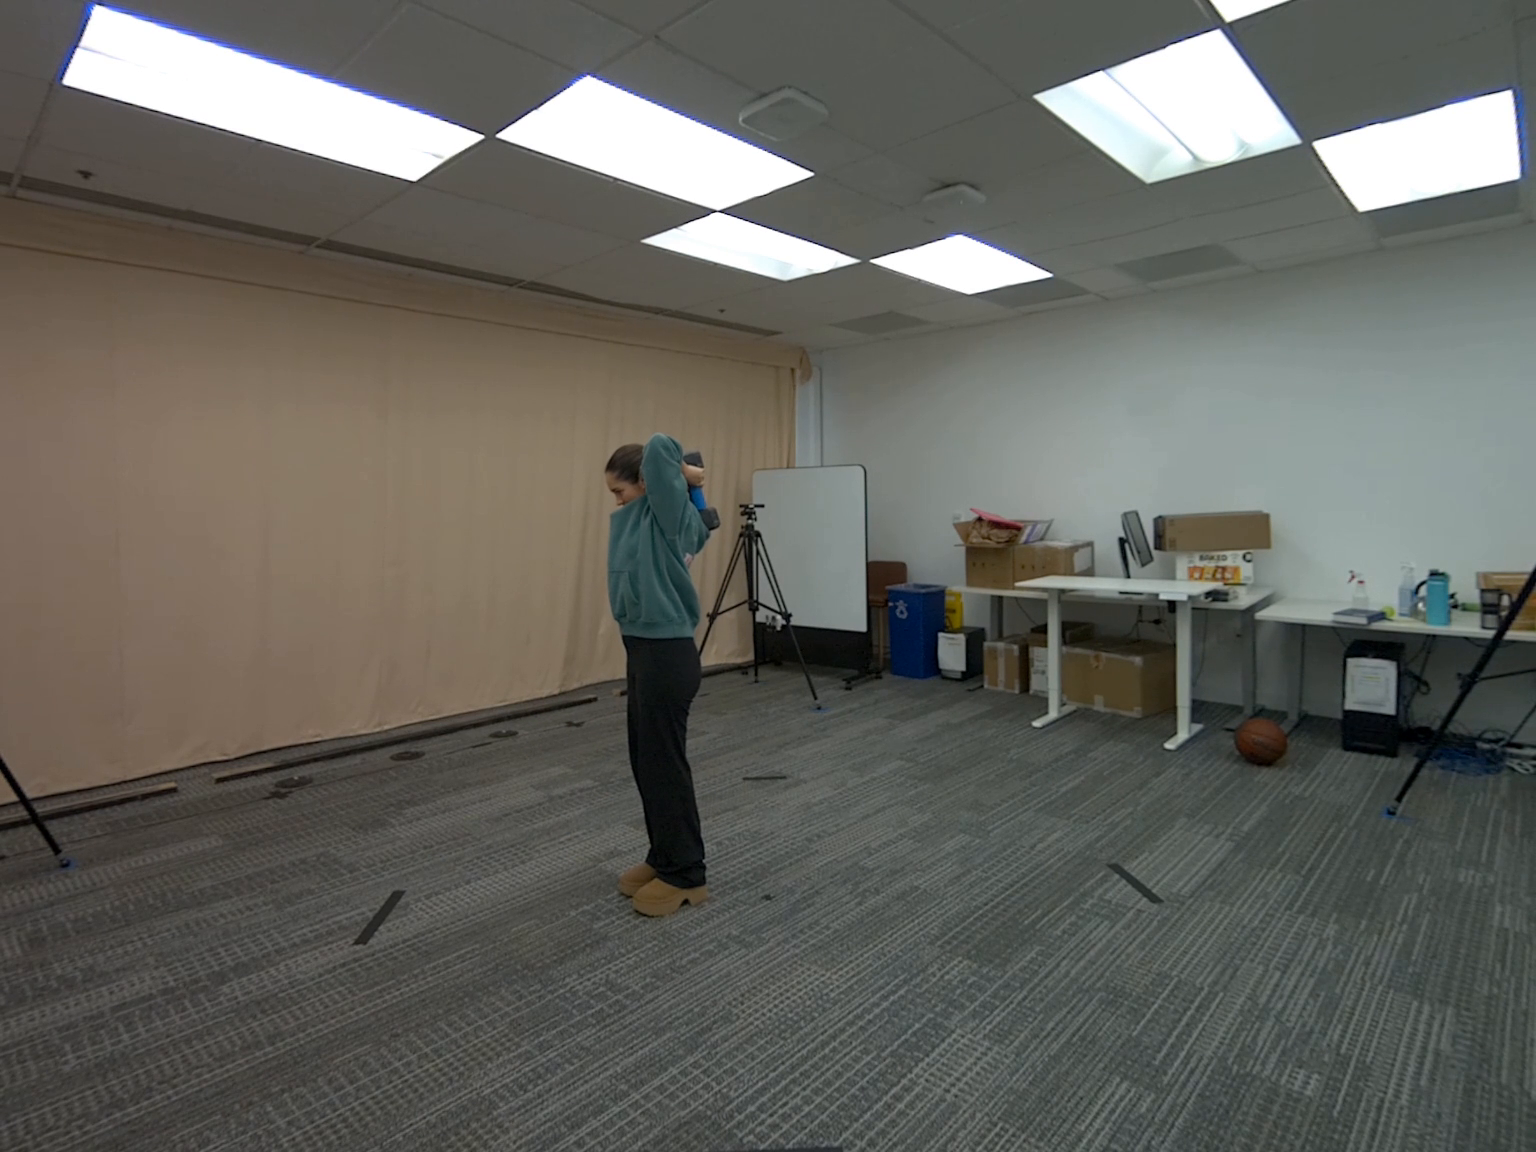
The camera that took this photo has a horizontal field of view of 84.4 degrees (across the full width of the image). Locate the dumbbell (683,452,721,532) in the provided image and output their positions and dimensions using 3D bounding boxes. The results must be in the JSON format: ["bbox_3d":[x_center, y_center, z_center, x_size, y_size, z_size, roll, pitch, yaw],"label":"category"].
[{"bbox_3d":[-0.263,-0.302,3.019,0.121,0.292,0.111,-19,6,-22],"label":"dumbbell"}]
